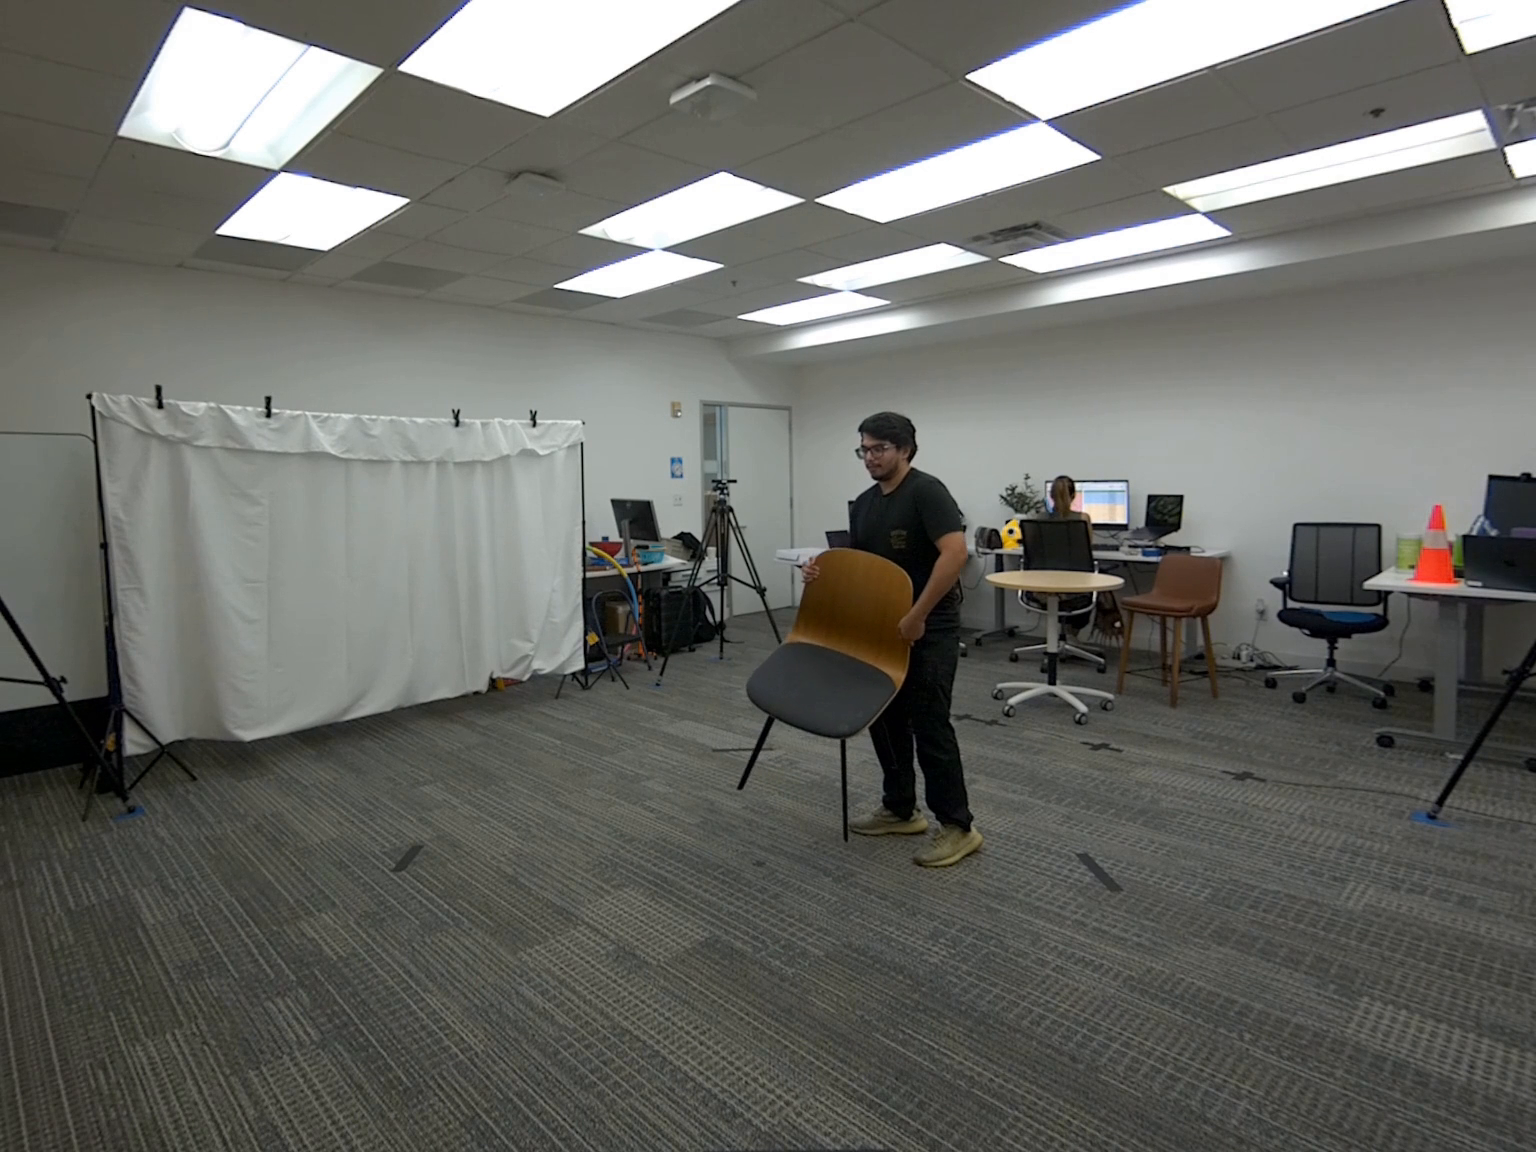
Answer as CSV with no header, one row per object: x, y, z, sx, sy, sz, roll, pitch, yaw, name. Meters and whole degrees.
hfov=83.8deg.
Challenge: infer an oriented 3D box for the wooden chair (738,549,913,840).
0.209,0.403,3.041,0.492,0.861,0.517,18,28,27,wooden chair
